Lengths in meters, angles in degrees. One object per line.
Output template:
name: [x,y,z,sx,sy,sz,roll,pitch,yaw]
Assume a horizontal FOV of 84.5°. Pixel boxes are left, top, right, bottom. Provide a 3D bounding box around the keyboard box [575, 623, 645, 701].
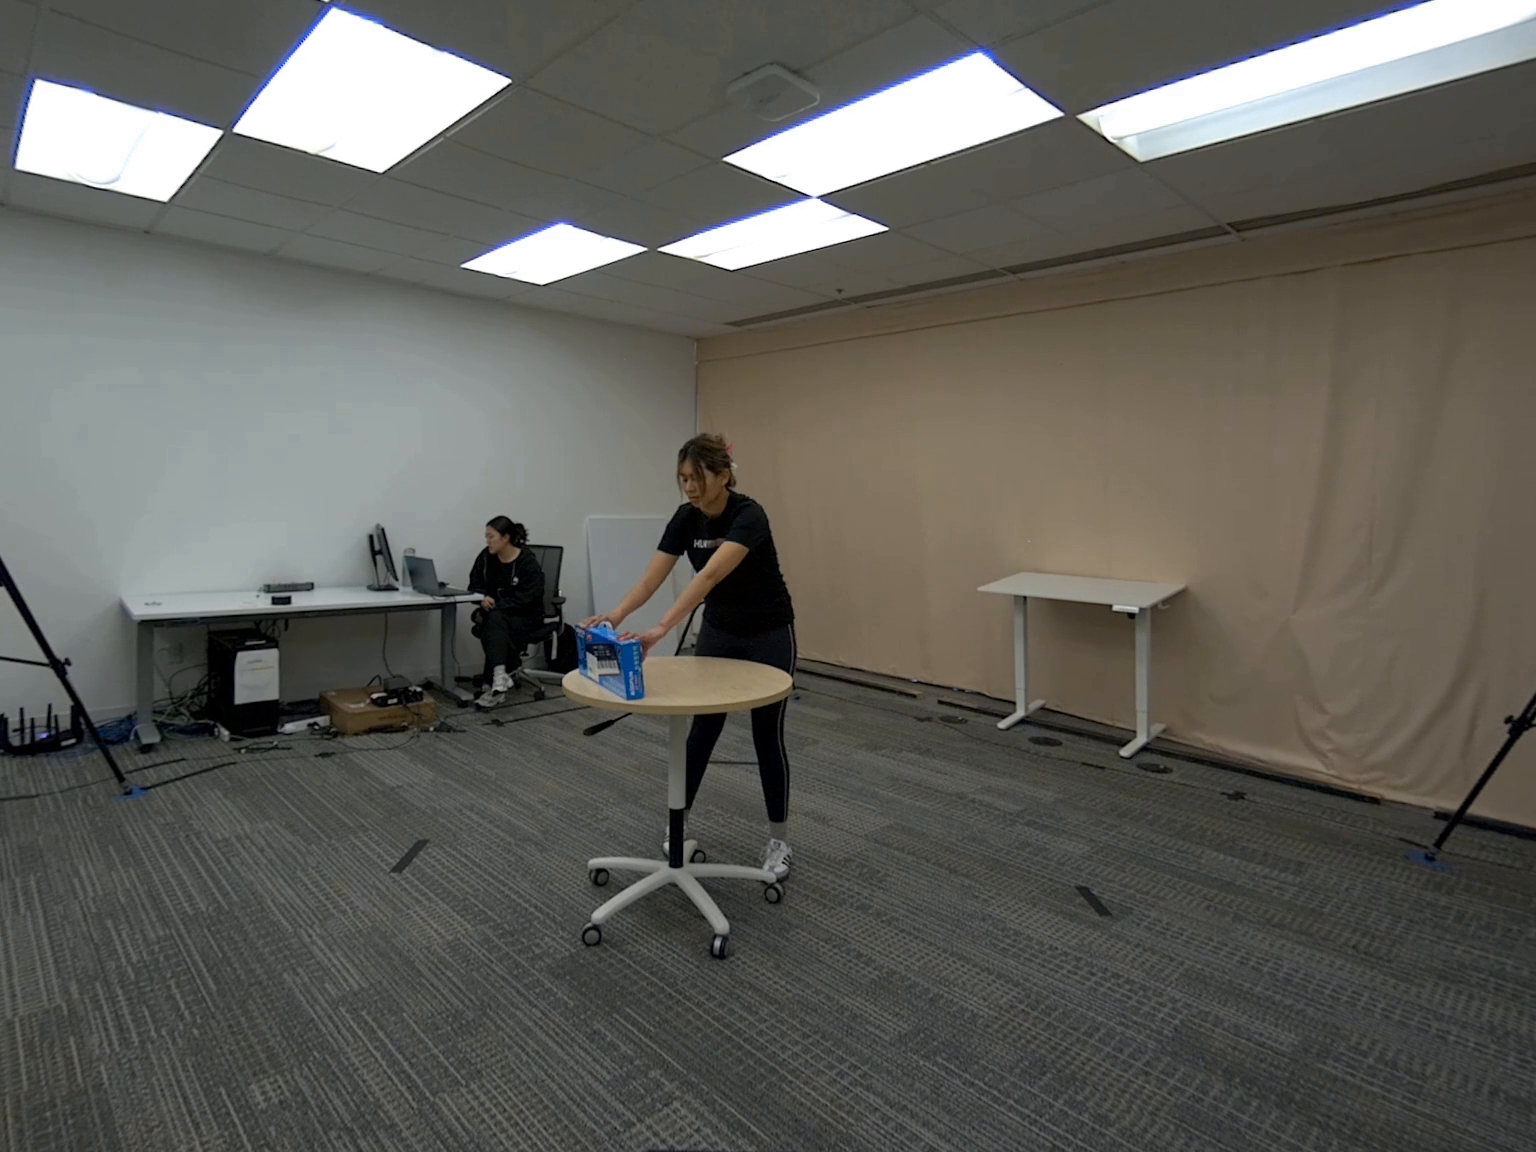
keyboard box: [-0.521,0.266,2.686,0.058,0.175,0.447,-7,8,-29]
